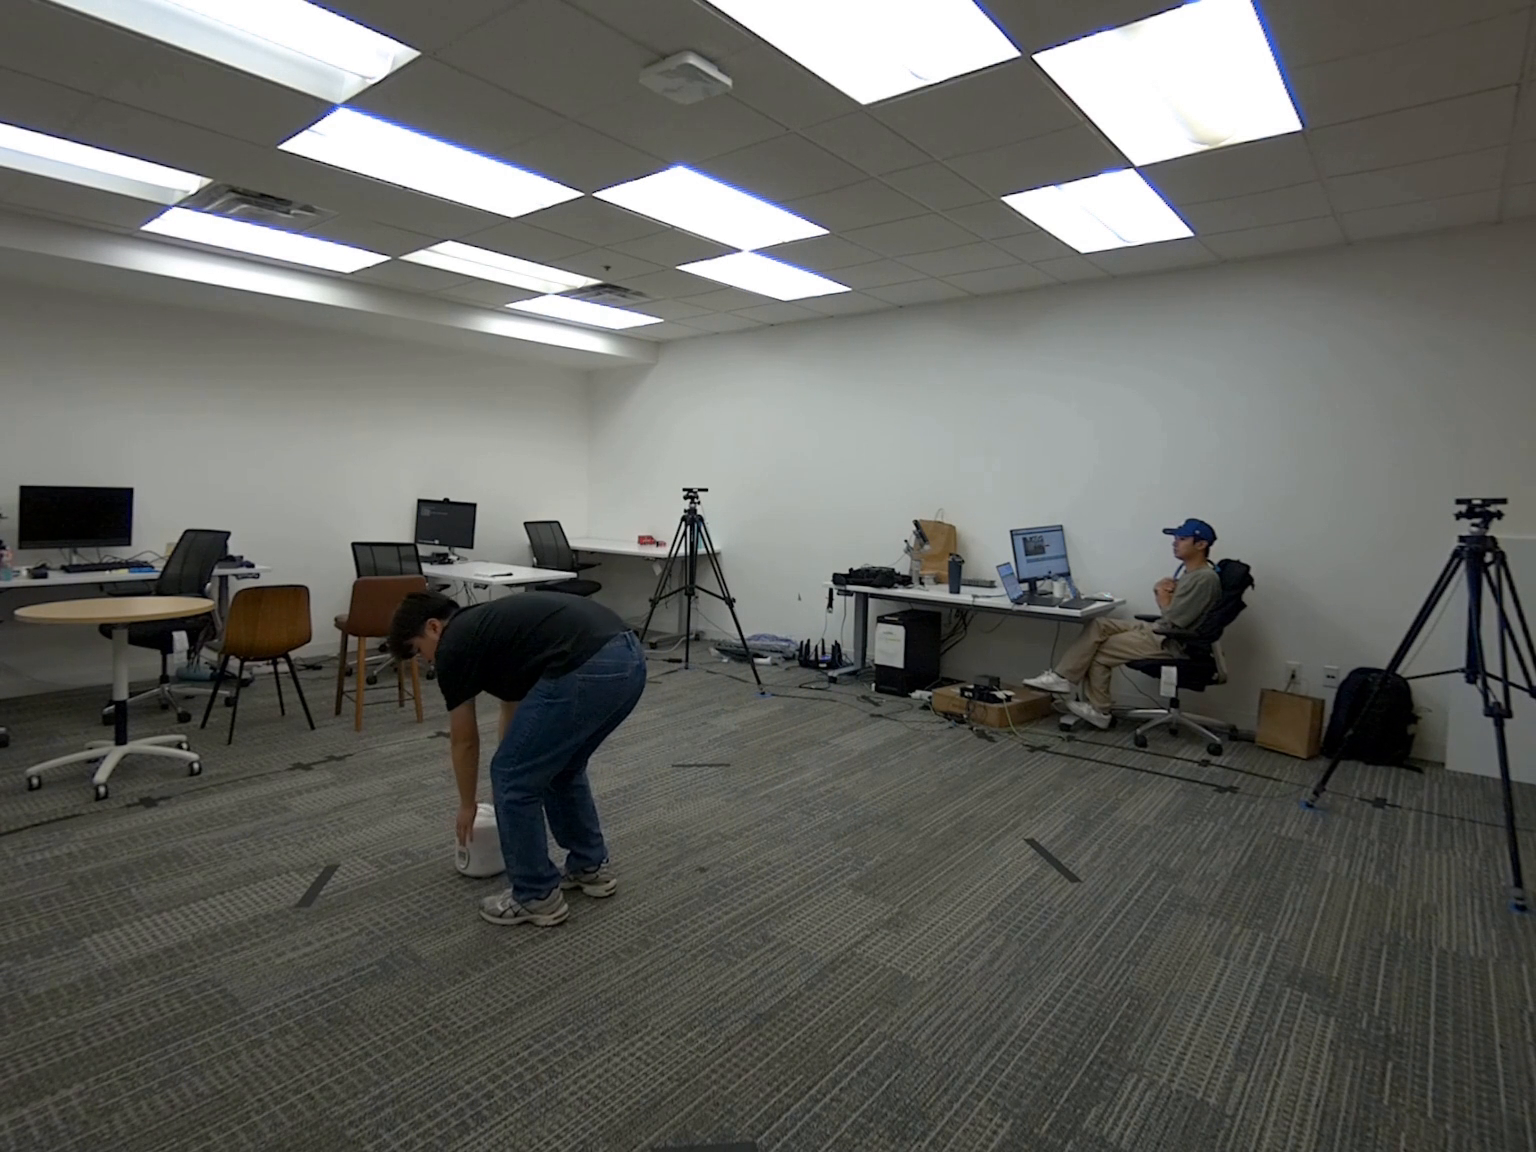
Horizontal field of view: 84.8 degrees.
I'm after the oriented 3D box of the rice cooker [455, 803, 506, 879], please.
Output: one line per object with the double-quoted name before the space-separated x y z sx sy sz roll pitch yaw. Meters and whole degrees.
"rice cooker" -1.035 0.943 3.083 0.227 0.232 0.212 3 4 30
